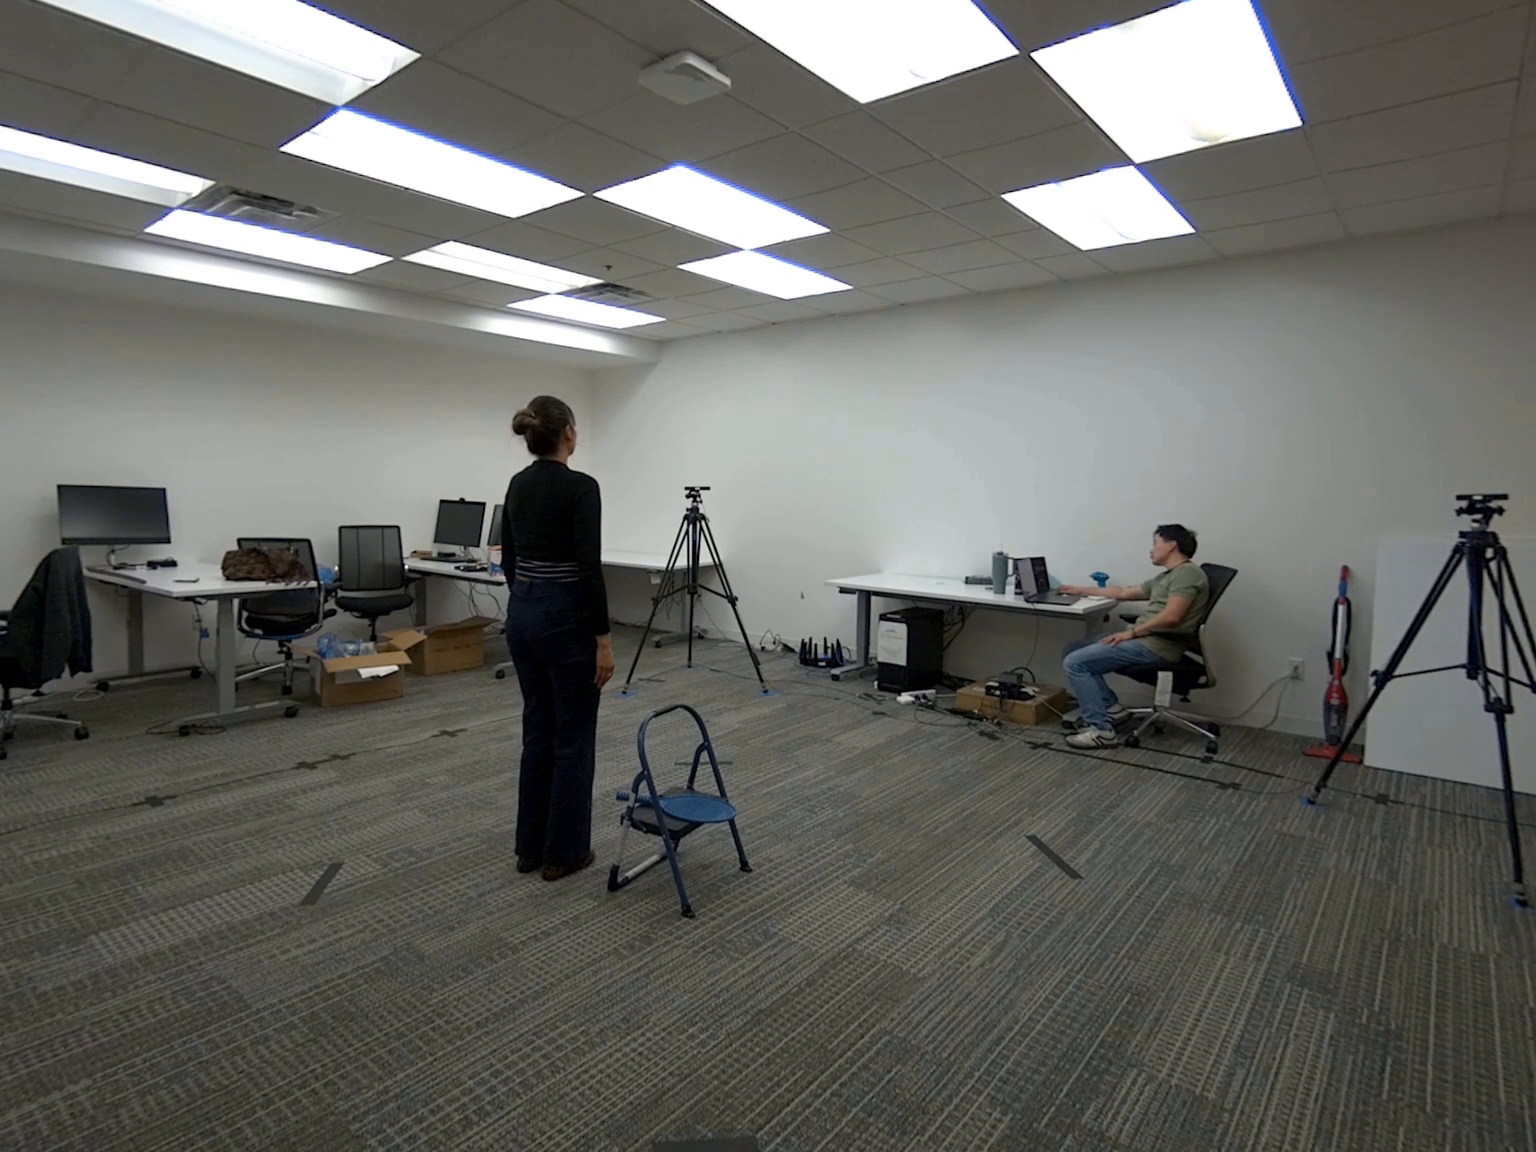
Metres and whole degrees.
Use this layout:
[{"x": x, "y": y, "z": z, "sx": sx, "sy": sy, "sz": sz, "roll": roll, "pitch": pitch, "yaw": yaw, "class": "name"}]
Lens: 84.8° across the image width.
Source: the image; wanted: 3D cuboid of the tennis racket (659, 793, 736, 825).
[{"x": -0.334, "y": 0.812, "z": 2.981, "sx": 0.434, "sy": 0.031, "sz": 0.214, "roll": 3, "pitch": 7, "yaw": 3, "class": "tennis racket"}]
